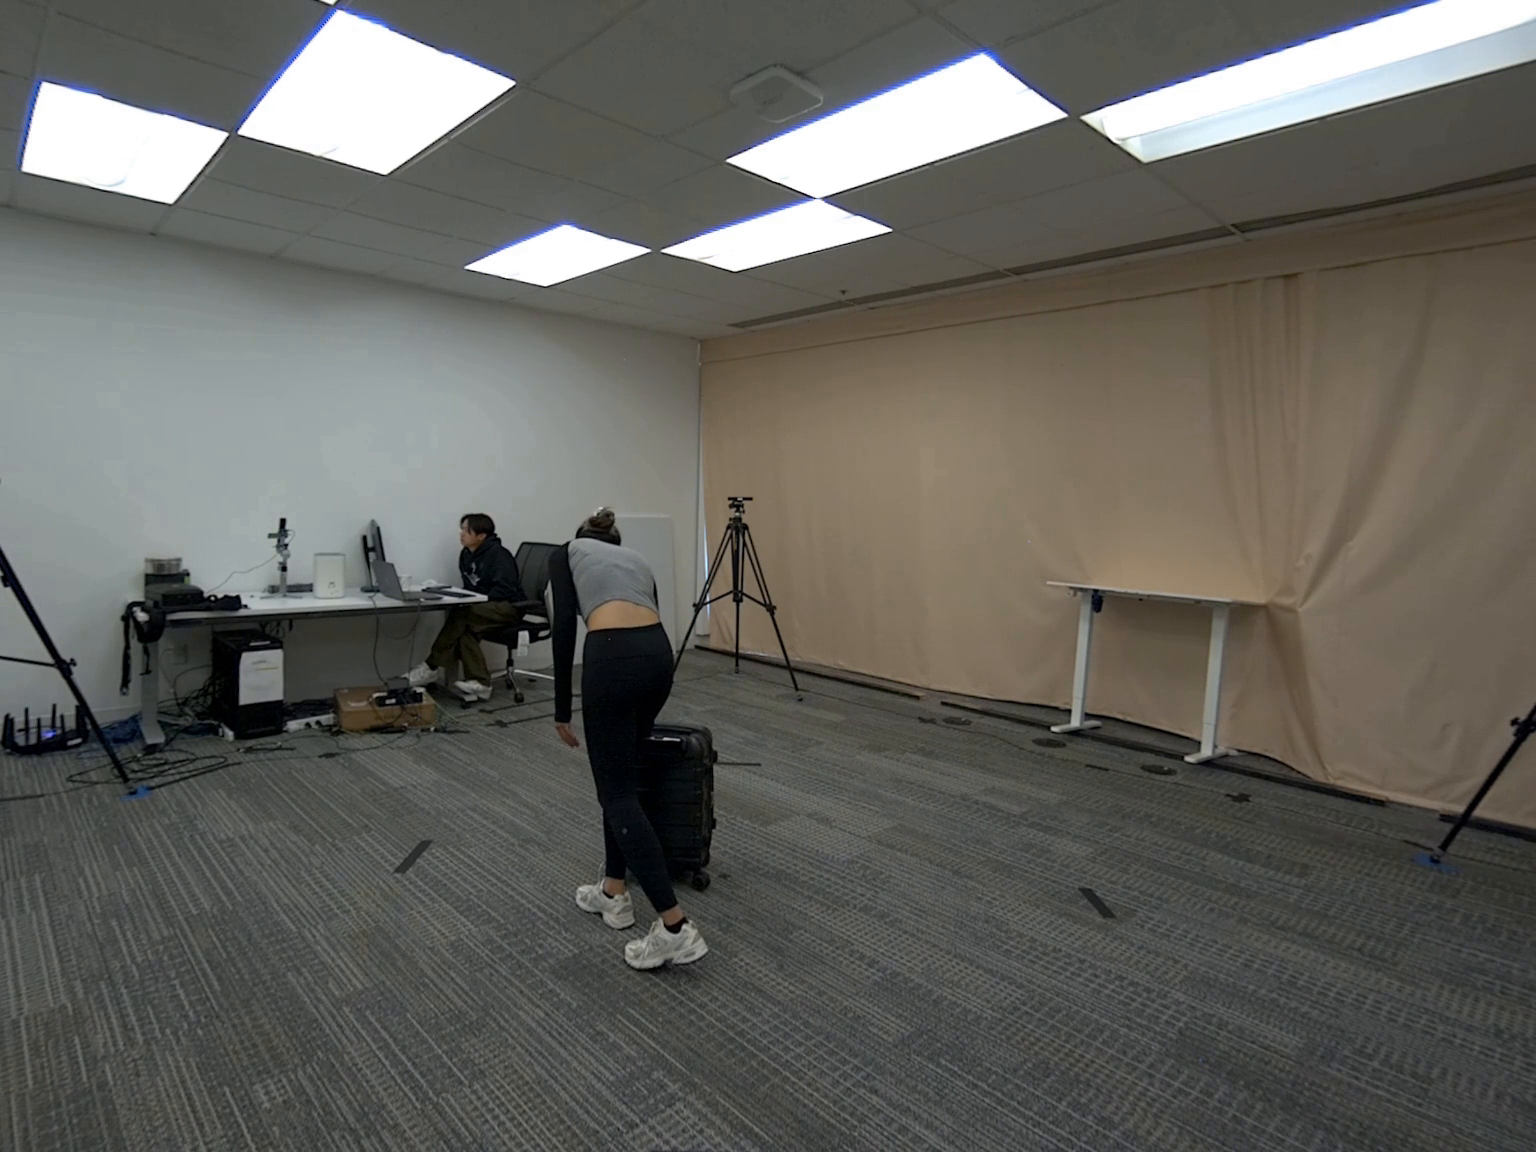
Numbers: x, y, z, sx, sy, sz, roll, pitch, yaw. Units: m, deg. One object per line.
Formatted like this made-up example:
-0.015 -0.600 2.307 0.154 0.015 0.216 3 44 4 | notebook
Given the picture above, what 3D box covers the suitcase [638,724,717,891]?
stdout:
-0.395 0.827 3.118 0.377 0.549 0.247 0 1 6 | suitcase
